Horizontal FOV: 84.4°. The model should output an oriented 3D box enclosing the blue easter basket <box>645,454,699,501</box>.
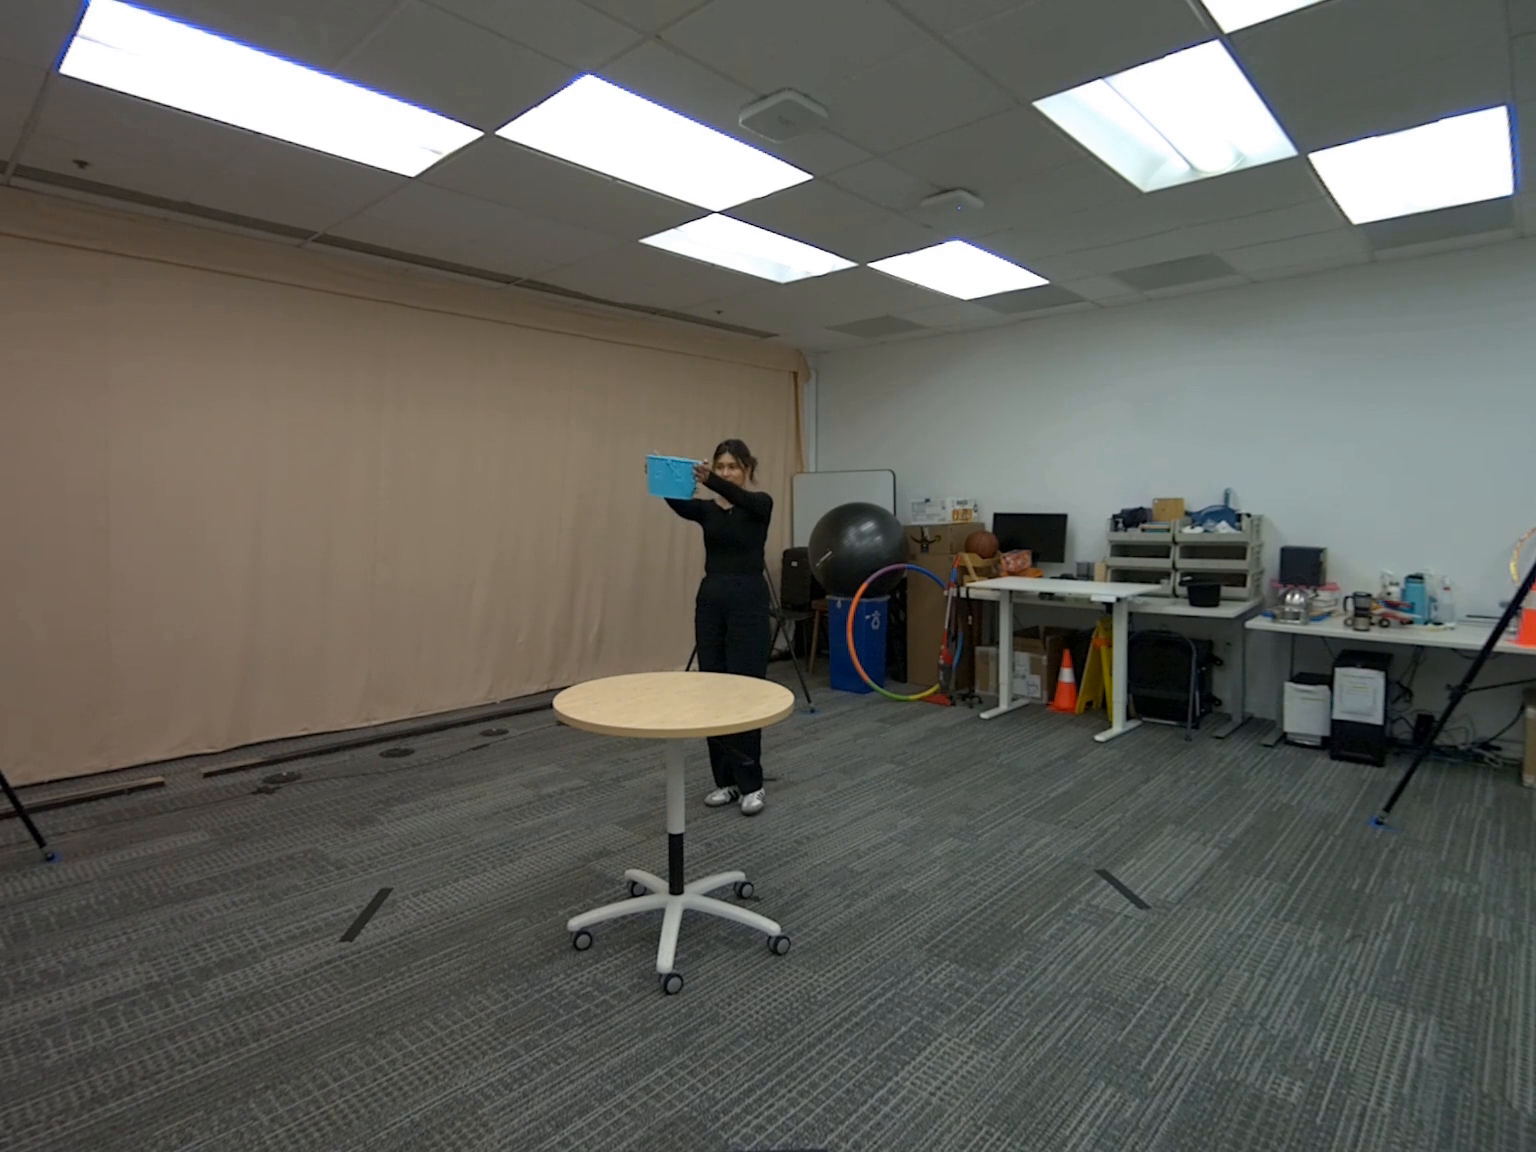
[{"bbox_3d":[-0.370,-0.392,3.381,0.243,0.155,0.245,4,11,-3],"label":"blue easter basket"}]
